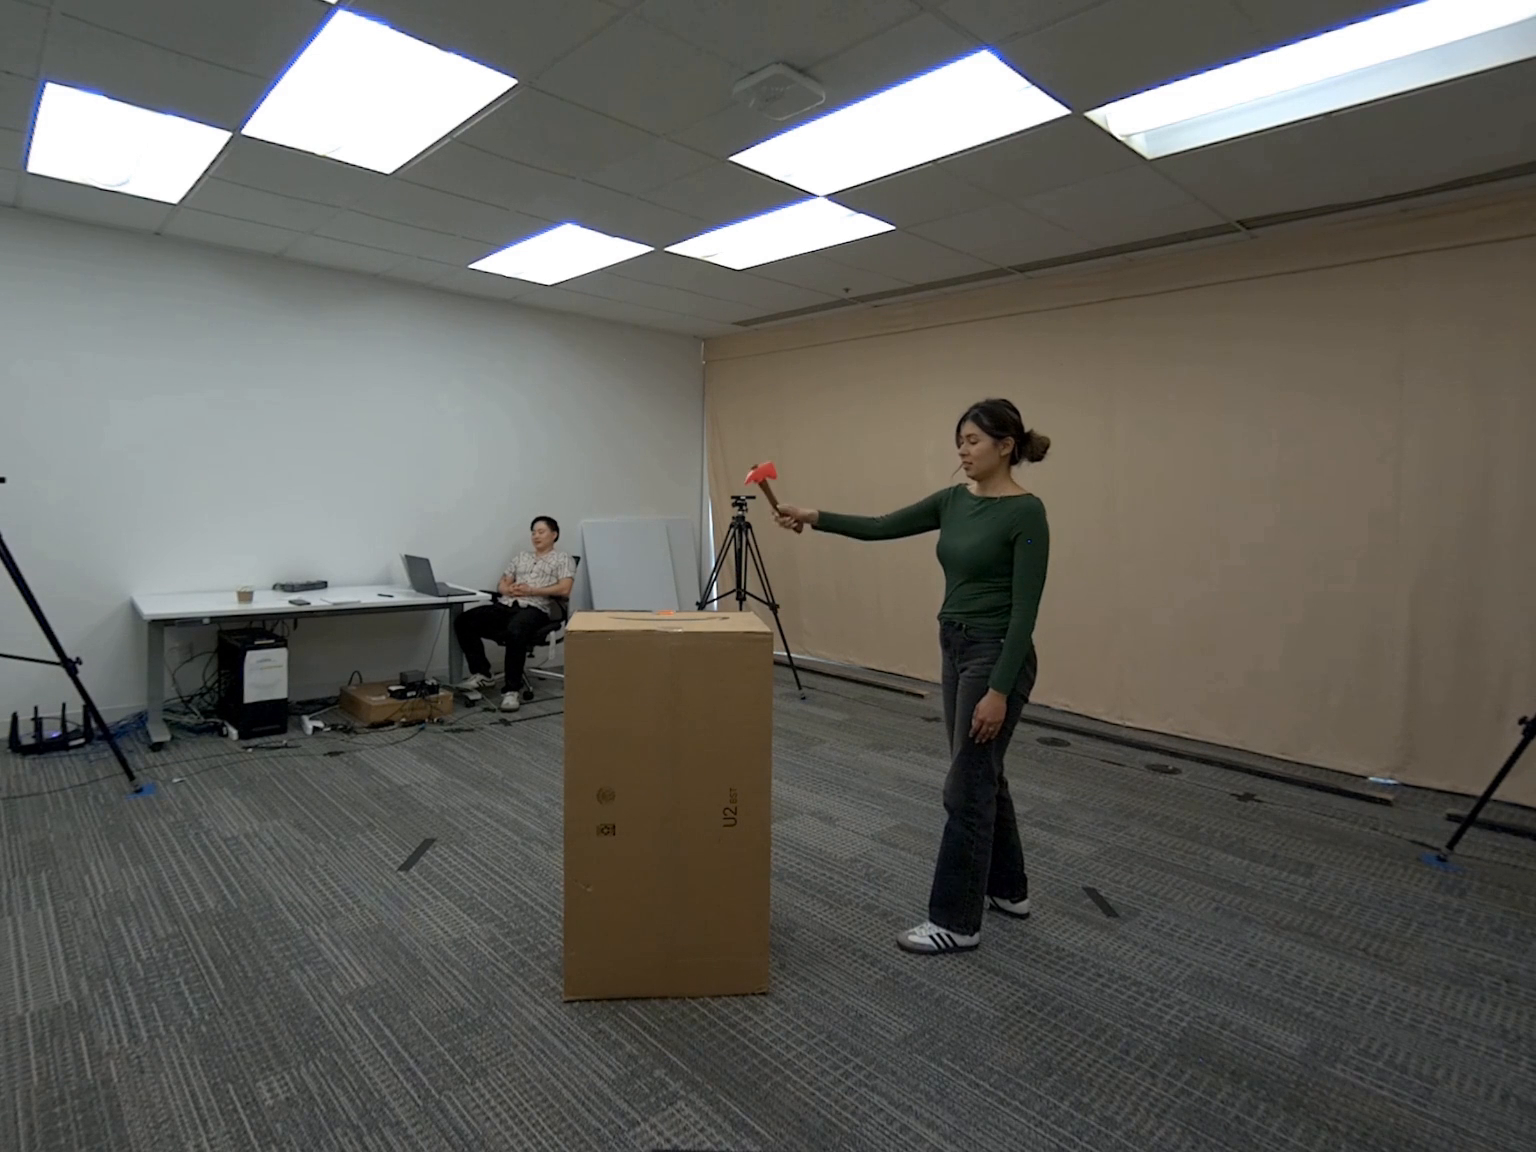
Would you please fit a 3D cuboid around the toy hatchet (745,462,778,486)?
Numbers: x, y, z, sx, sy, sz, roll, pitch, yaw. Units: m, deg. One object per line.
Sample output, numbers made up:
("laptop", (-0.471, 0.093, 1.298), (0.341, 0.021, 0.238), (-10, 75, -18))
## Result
("toy hatchet", (0.047, -0.261, 2.725), (0.264, 0.132, 0.030), (39, -27, -21))
